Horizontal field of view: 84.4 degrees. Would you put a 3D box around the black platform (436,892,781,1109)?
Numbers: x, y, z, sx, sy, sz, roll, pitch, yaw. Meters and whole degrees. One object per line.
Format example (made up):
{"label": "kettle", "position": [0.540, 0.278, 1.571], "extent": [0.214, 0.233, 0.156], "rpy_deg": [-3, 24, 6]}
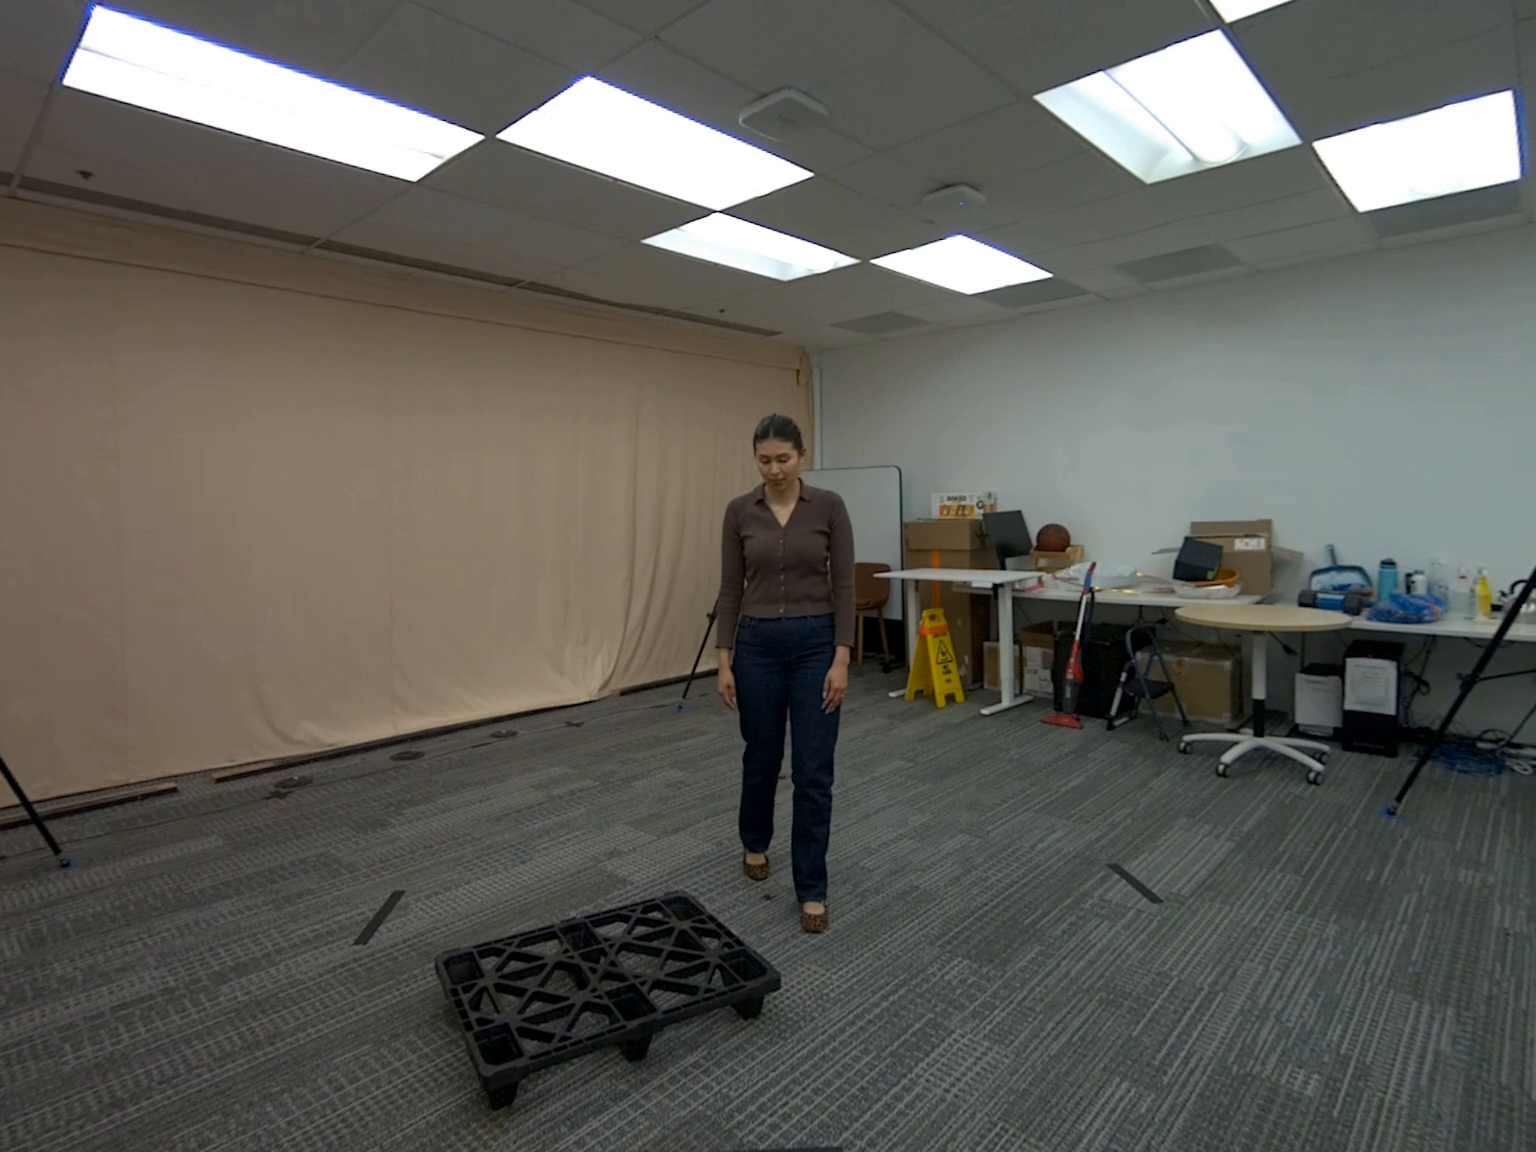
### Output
{"label": "black platform", "position": [-0.445, 1.140, 2.318], "extent": [0.785, 0.143, 0.623], "rpy_deg": [-4, 6, -30]}
